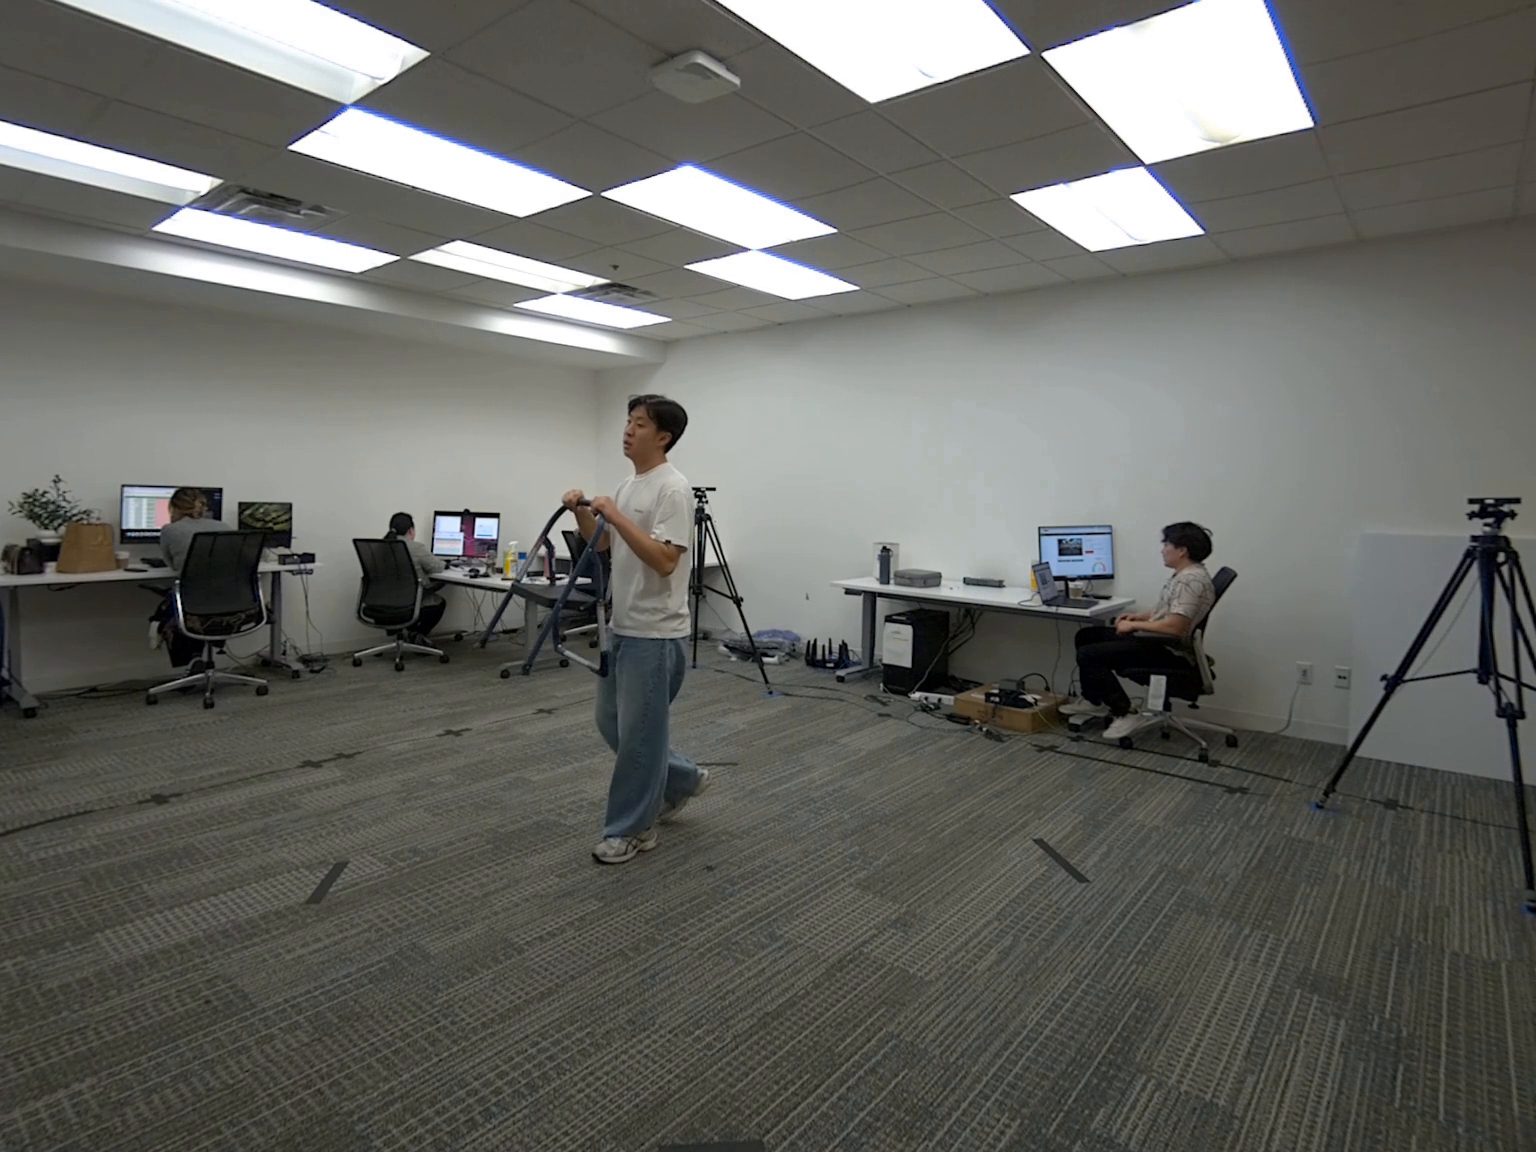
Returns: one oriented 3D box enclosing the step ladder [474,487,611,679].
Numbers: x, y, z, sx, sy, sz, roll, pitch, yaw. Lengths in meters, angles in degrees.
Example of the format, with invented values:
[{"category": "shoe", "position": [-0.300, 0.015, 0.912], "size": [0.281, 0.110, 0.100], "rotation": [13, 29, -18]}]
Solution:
[{"category": "step ladder", "position": [-0.779, 0.015, 3.074], "size": [0.337, 0.606, 0.446], "rotation": [9, 1, -39]}]
